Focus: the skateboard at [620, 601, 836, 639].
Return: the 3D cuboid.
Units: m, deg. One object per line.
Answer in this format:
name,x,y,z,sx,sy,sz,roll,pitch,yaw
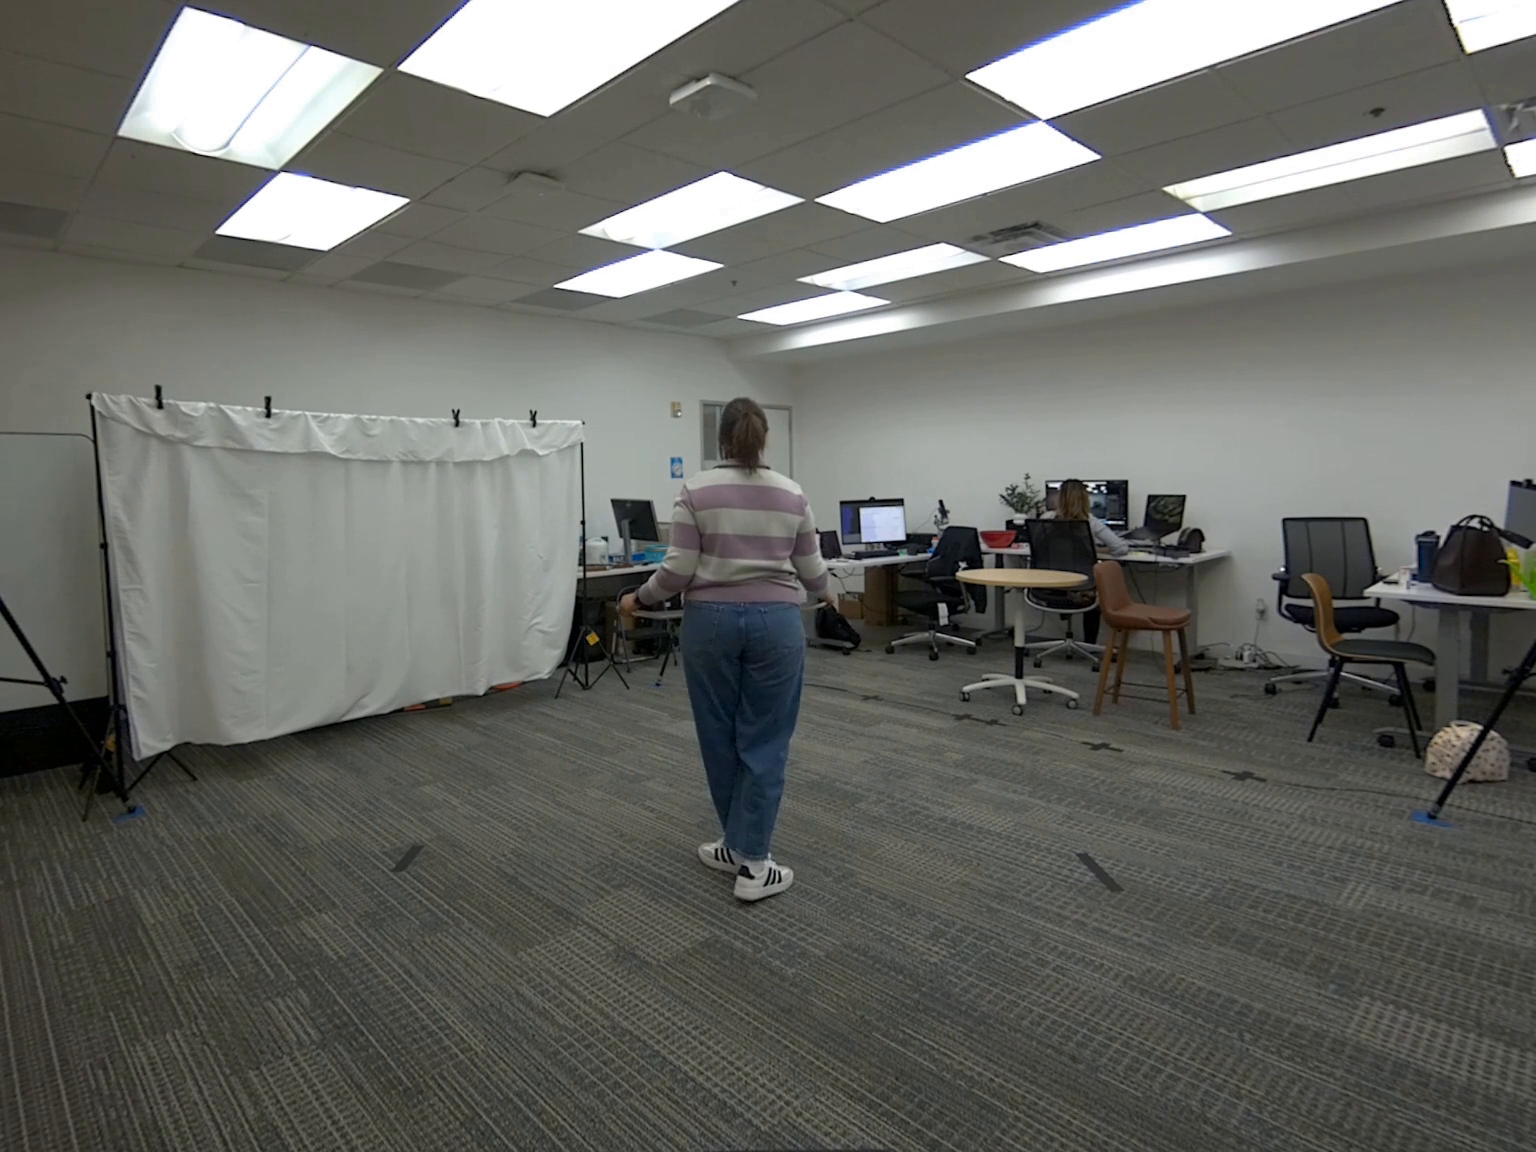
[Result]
skateboard,-0.153,0.162,3.237,0.775,0.111,0.195,-1,-3,-14
